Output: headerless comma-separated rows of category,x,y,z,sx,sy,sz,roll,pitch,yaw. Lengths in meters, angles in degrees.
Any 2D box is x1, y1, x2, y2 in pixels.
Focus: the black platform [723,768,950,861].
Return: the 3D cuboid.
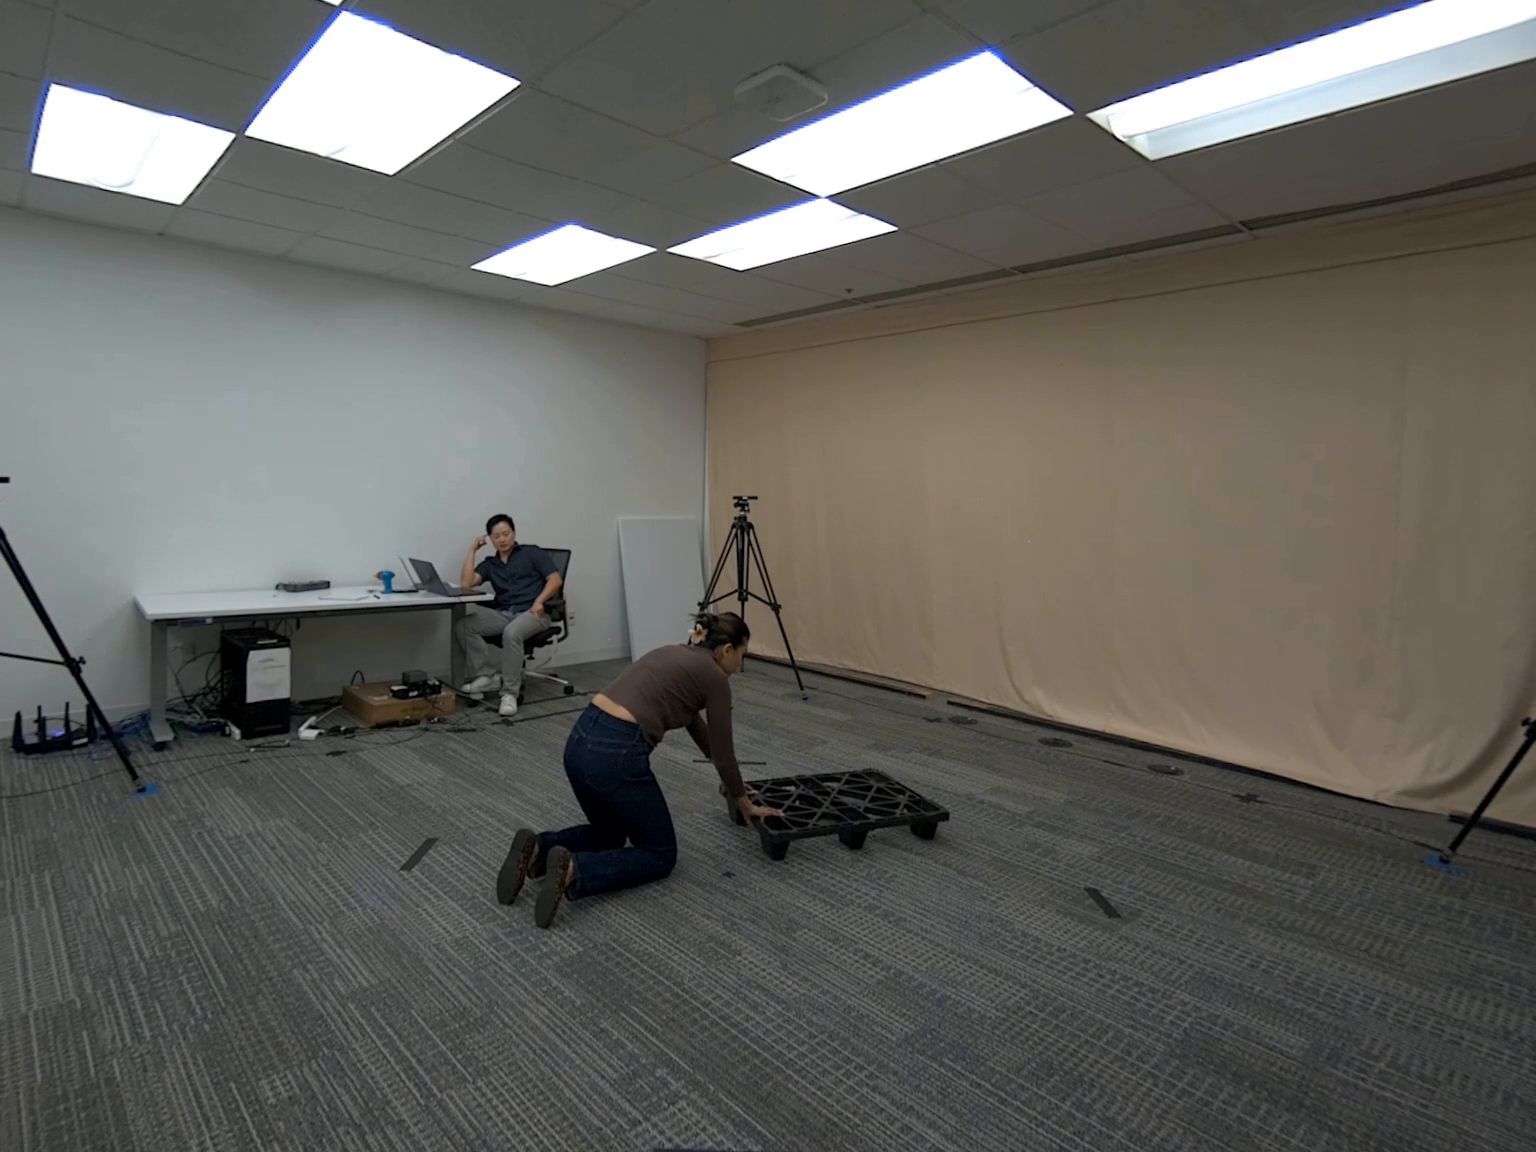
black platform,0.248,1.005,3.567,0.793,0.143,0.616,0,5,-22
